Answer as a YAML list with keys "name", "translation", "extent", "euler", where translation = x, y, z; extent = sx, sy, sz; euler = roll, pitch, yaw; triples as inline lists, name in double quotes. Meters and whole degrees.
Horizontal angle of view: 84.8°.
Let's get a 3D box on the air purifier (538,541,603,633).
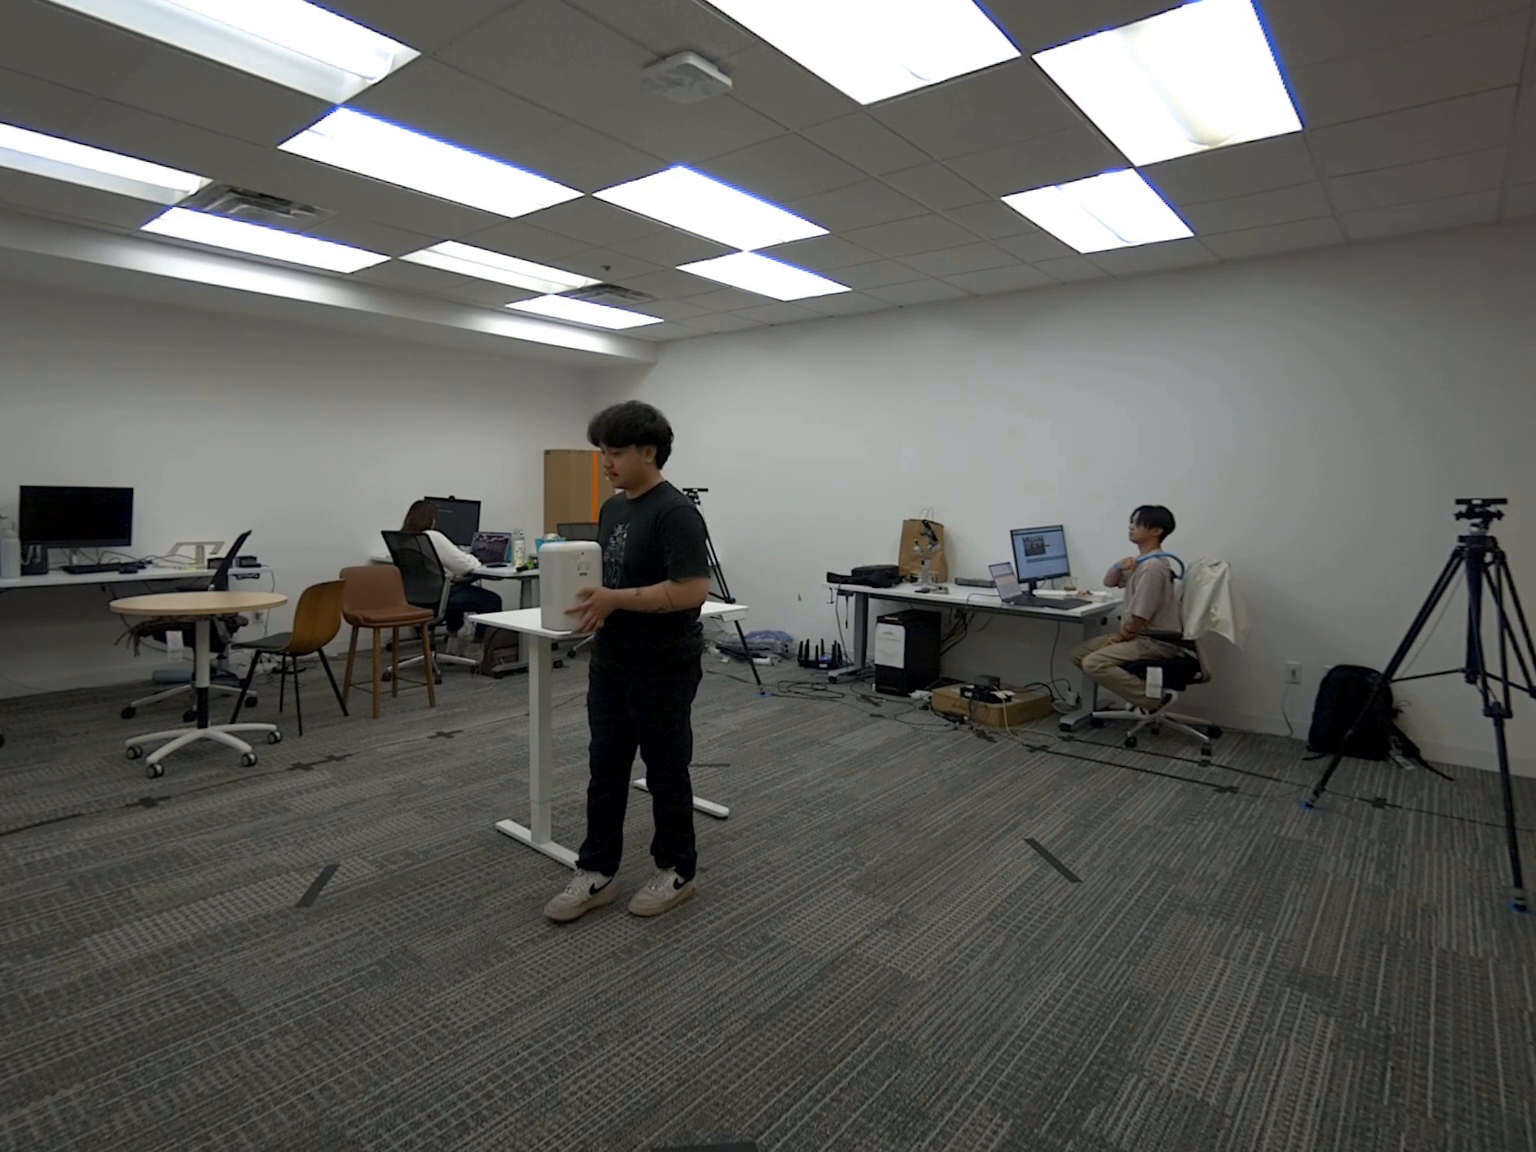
- name: "air purifier"
  translation: [-0.625, 0.022, 2.645]
  extent: [0.166, 0.264, 0.177]
  euler: [-4, 5, -35]
